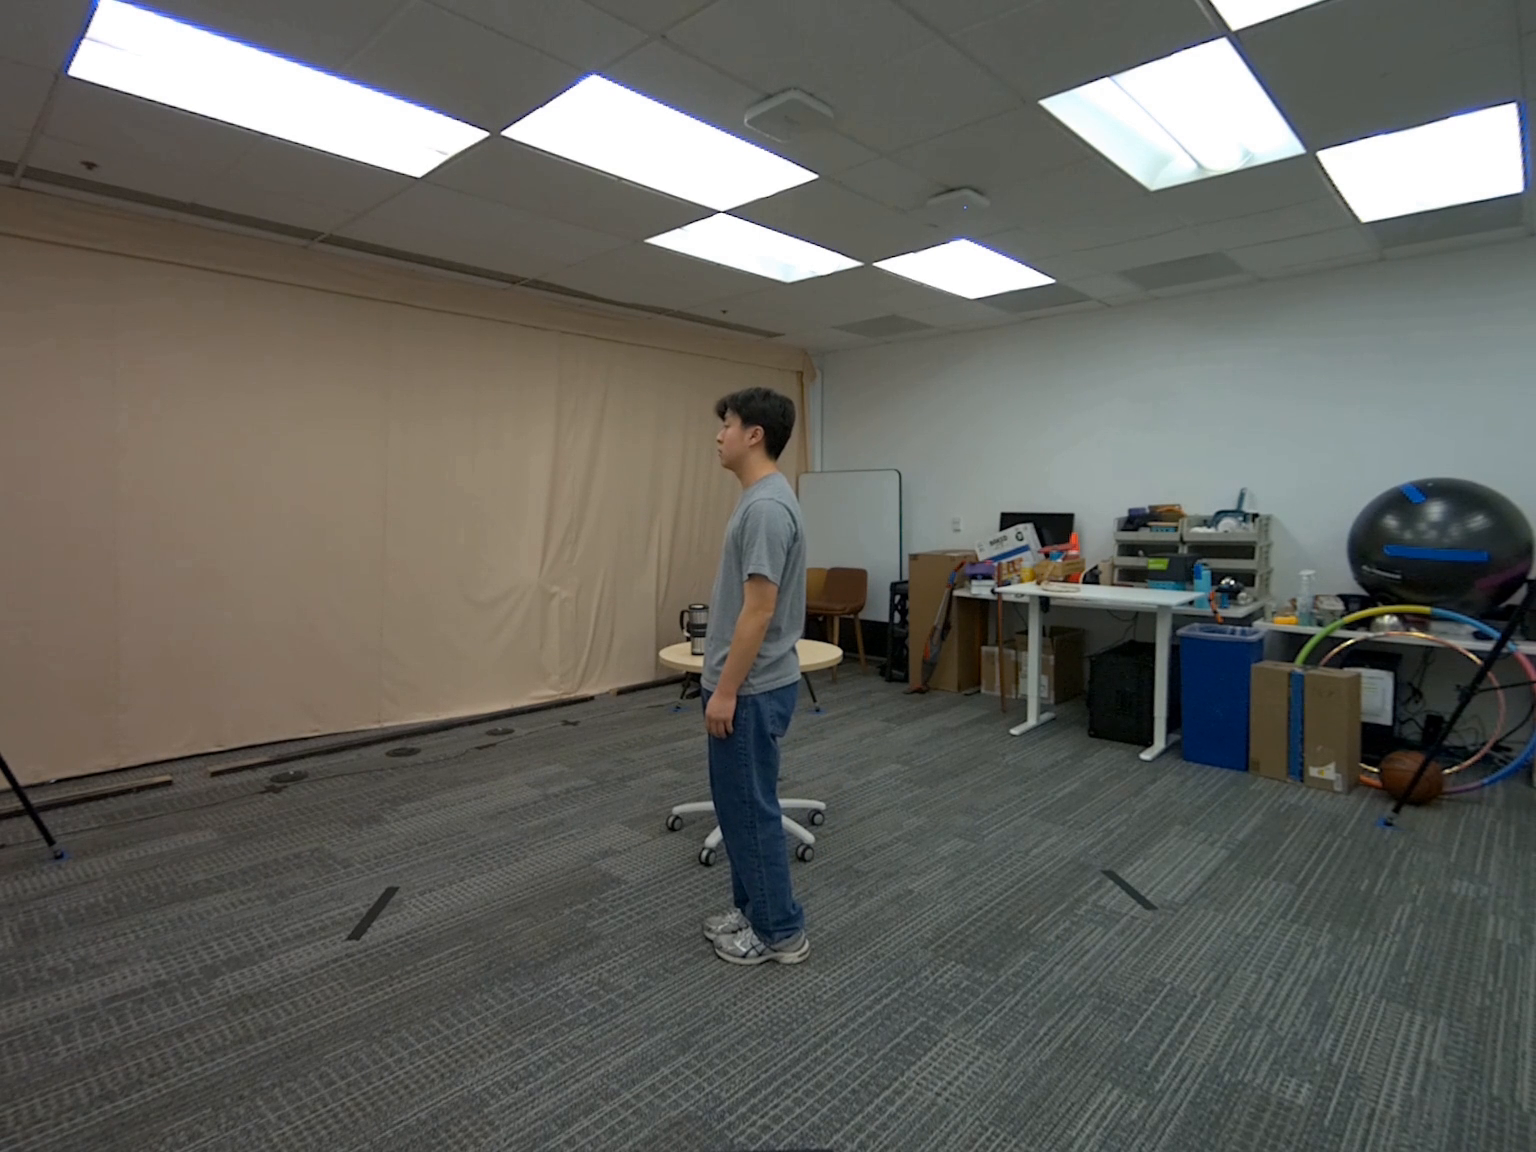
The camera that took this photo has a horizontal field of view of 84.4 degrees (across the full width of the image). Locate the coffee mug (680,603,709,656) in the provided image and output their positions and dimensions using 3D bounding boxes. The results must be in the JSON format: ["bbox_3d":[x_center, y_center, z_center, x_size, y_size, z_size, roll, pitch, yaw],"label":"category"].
[{"bbox_3d":[-0.302,0.222,3.500,0.126,0.202,0.085,6,8,42],"label":"coffee mug"}]
